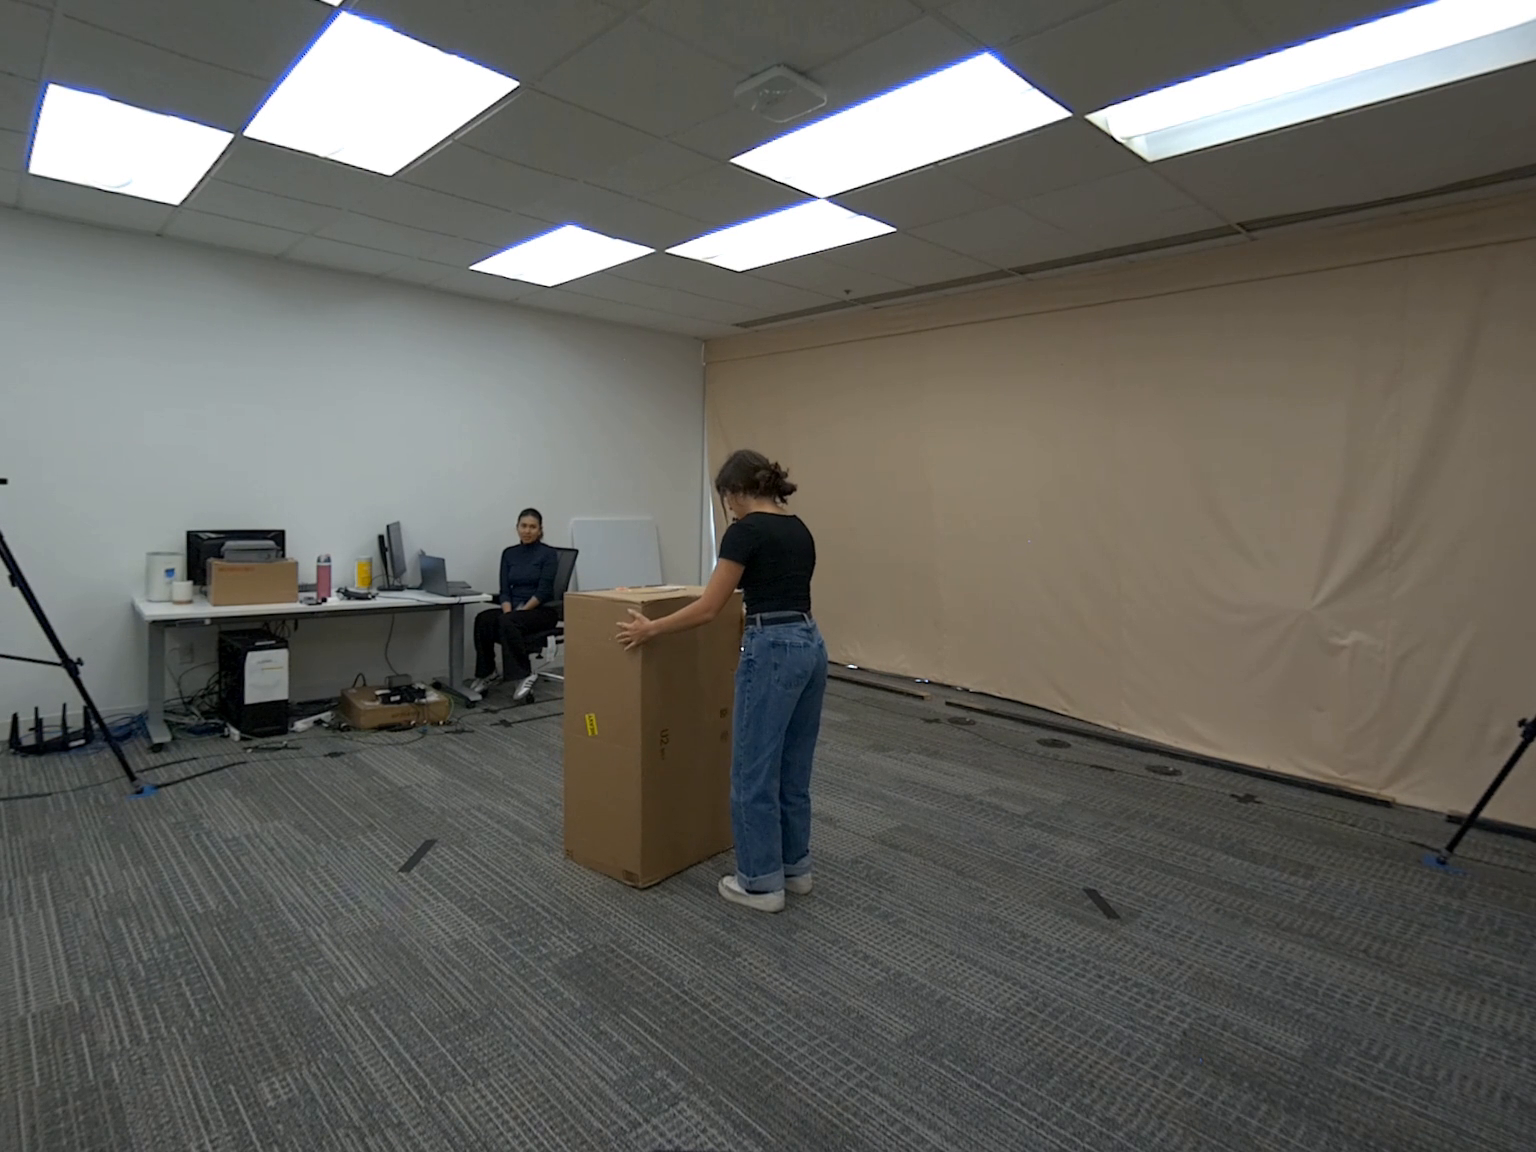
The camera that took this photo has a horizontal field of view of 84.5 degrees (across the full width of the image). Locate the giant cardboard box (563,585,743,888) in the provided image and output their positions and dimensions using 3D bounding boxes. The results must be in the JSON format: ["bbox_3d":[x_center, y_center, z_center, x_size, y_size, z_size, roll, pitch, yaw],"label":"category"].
[{"bbox_3d":[-0.452,0.572,3.304,0.436,1.024,0.565,2,3,38],"label":"giant cardboard box"}]
